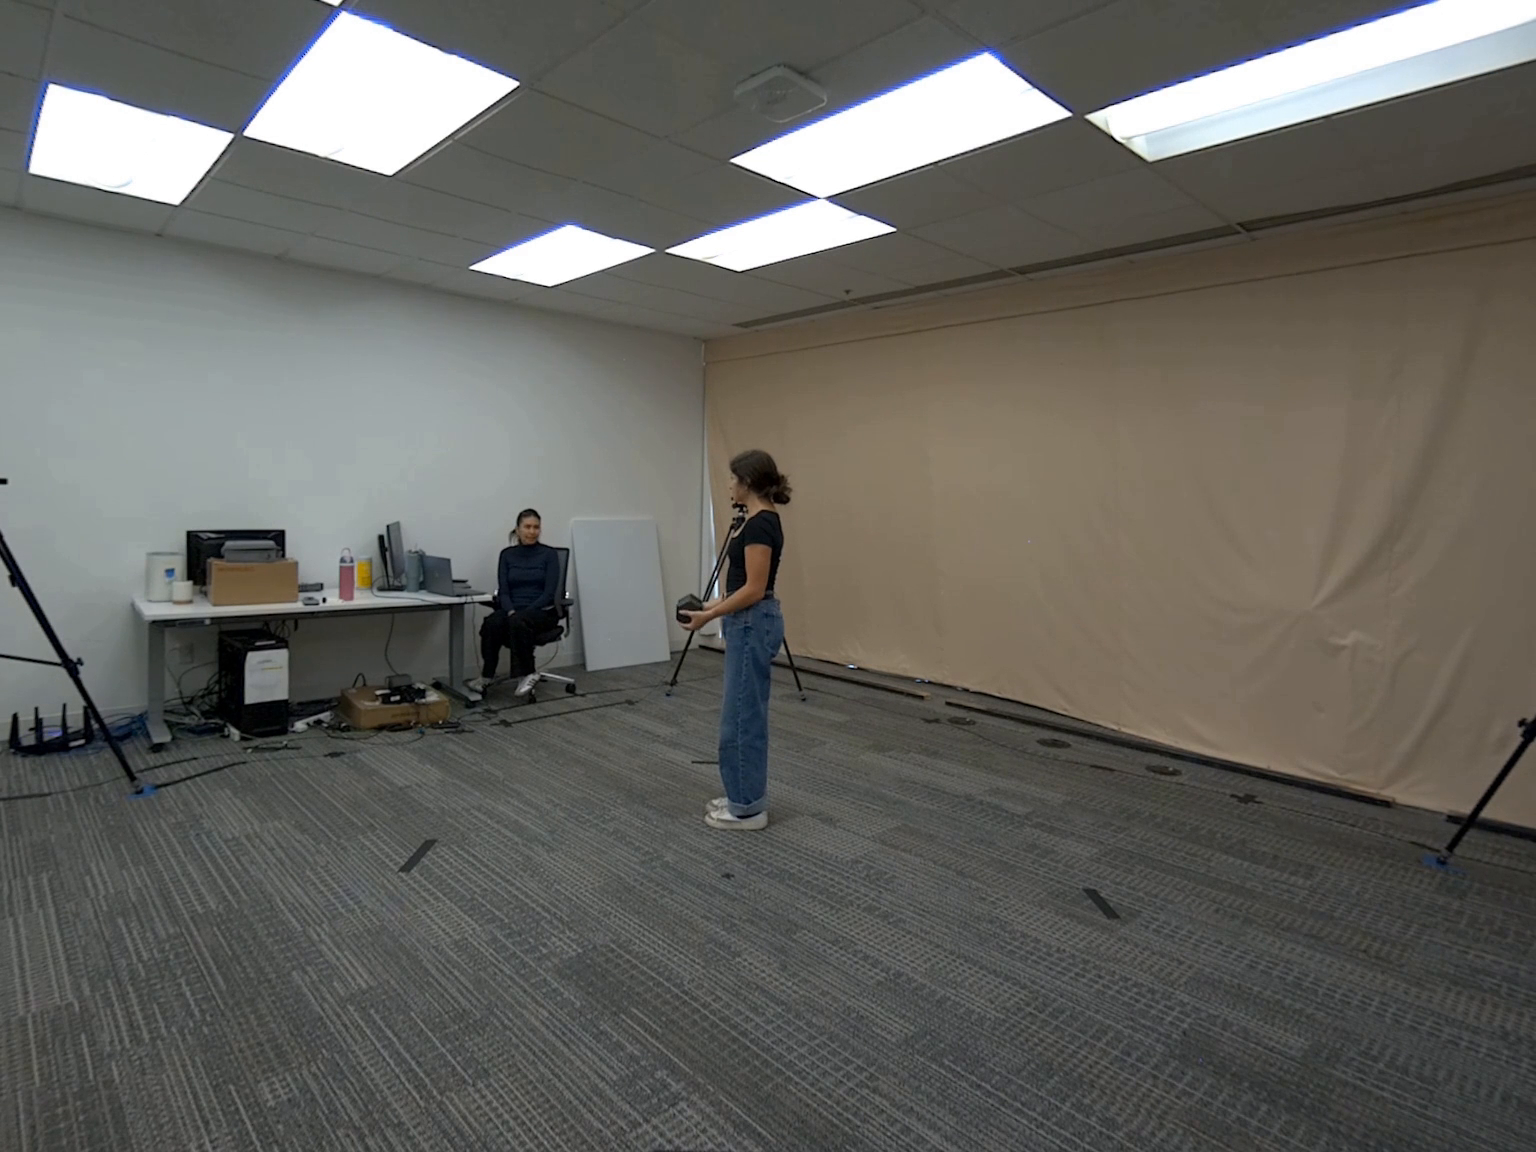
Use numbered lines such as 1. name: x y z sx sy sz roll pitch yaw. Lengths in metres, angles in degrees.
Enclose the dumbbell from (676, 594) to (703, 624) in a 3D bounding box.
1. dumbbell: -0.341 0.137 3.646 0.122 0.108 0.295 31 2 -5
